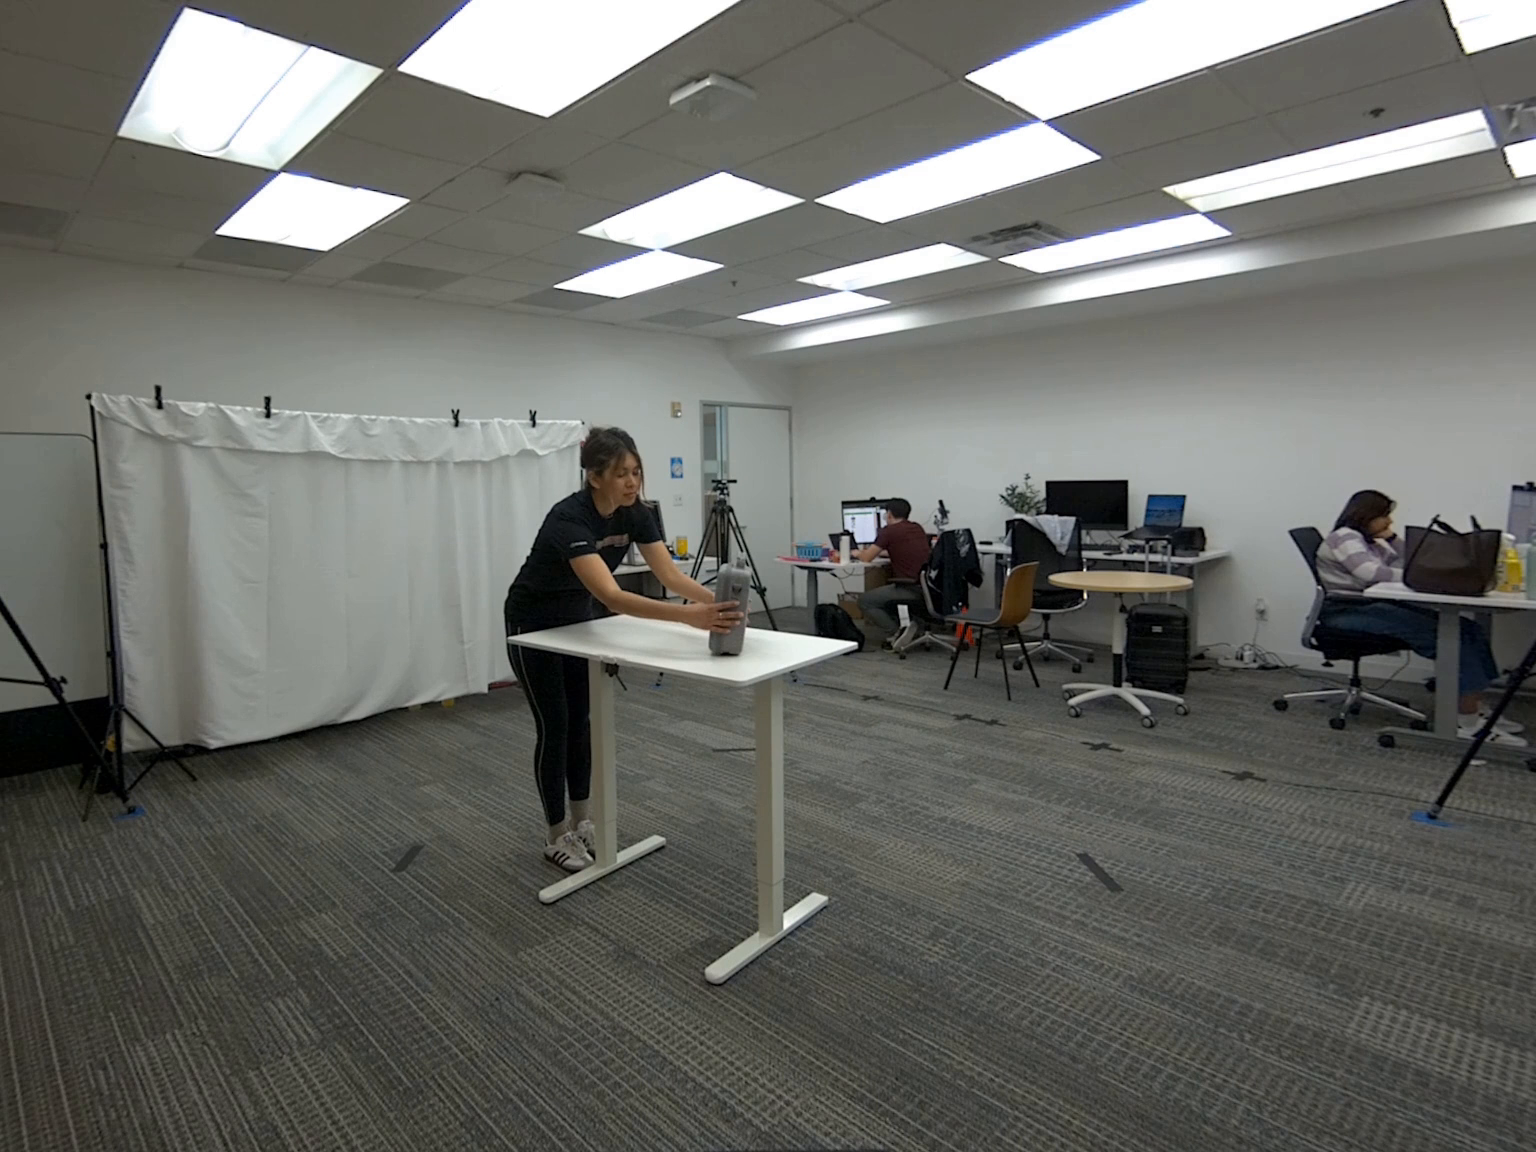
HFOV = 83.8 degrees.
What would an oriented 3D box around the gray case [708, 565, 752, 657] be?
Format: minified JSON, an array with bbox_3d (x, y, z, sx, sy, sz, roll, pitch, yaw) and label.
[{"bbox_3d":[-0.099,0.091,2.622,0.104,0.259,0.258,4,5,-3],"label":"gray case"}]
